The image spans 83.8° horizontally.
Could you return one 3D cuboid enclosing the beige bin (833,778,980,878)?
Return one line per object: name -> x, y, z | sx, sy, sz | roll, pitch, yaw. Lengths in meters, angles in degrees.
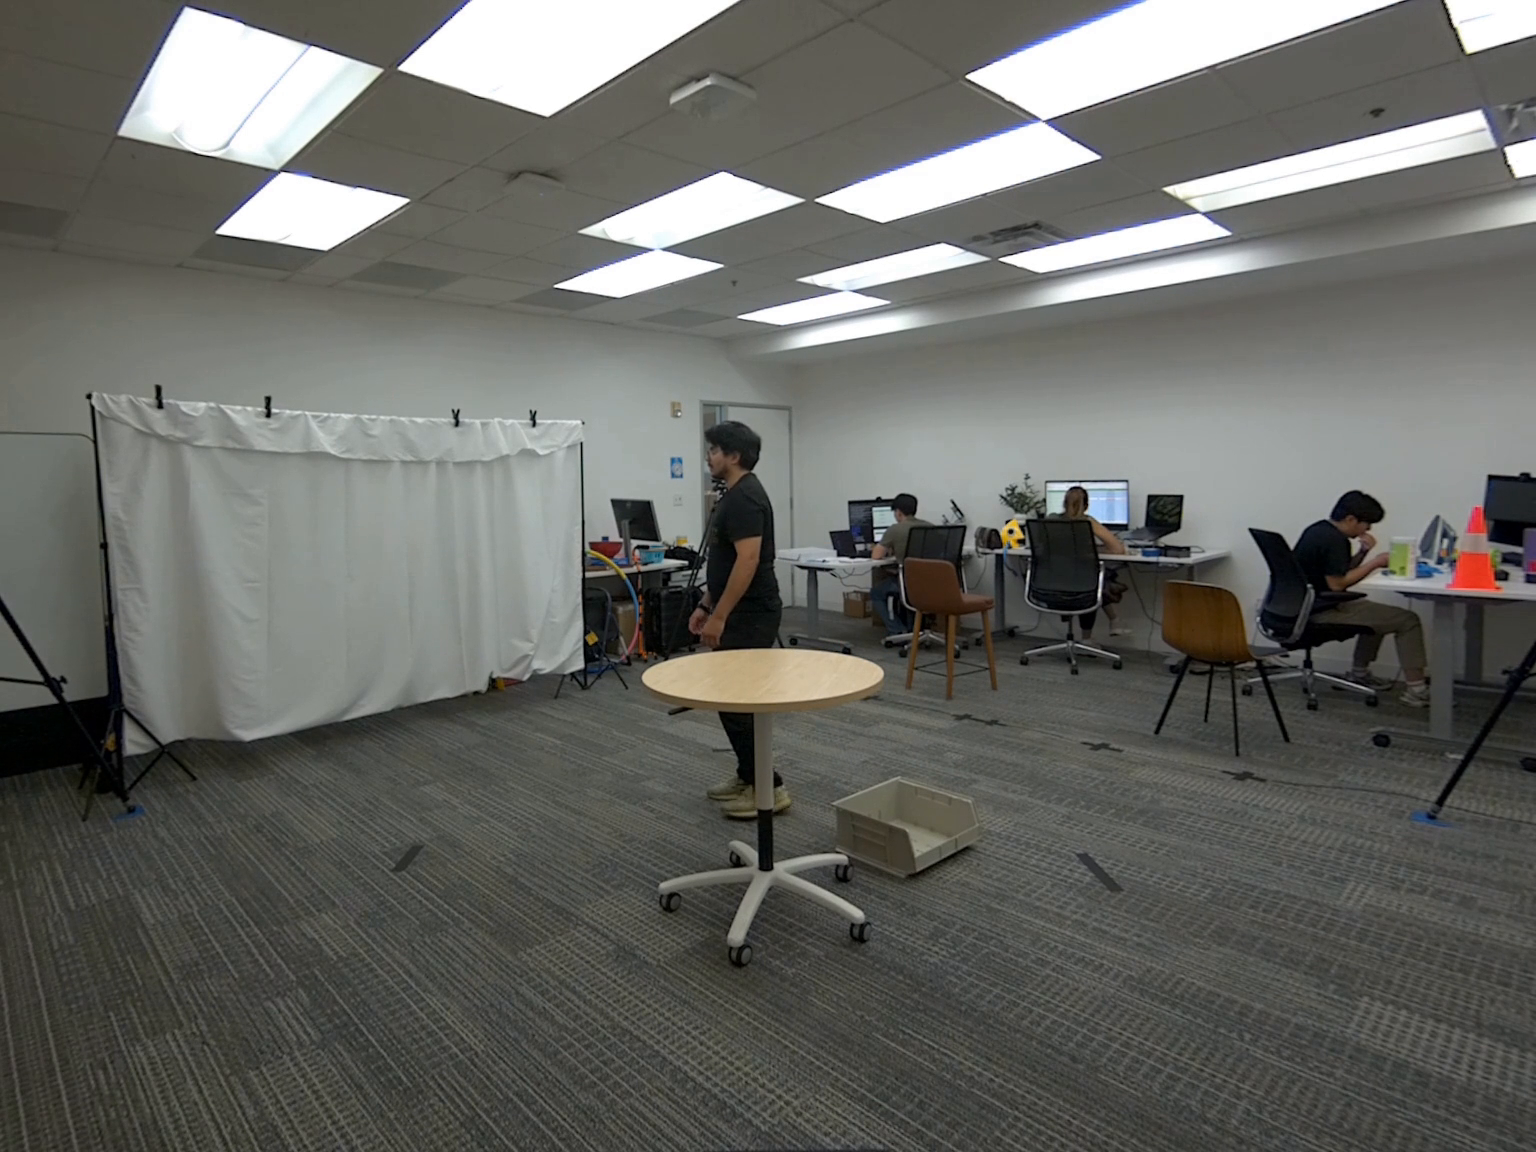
beige bin -> 0.519, 0.934, 3.201 | 0.411, 0.188, 0.389 | -7, 7, -43
